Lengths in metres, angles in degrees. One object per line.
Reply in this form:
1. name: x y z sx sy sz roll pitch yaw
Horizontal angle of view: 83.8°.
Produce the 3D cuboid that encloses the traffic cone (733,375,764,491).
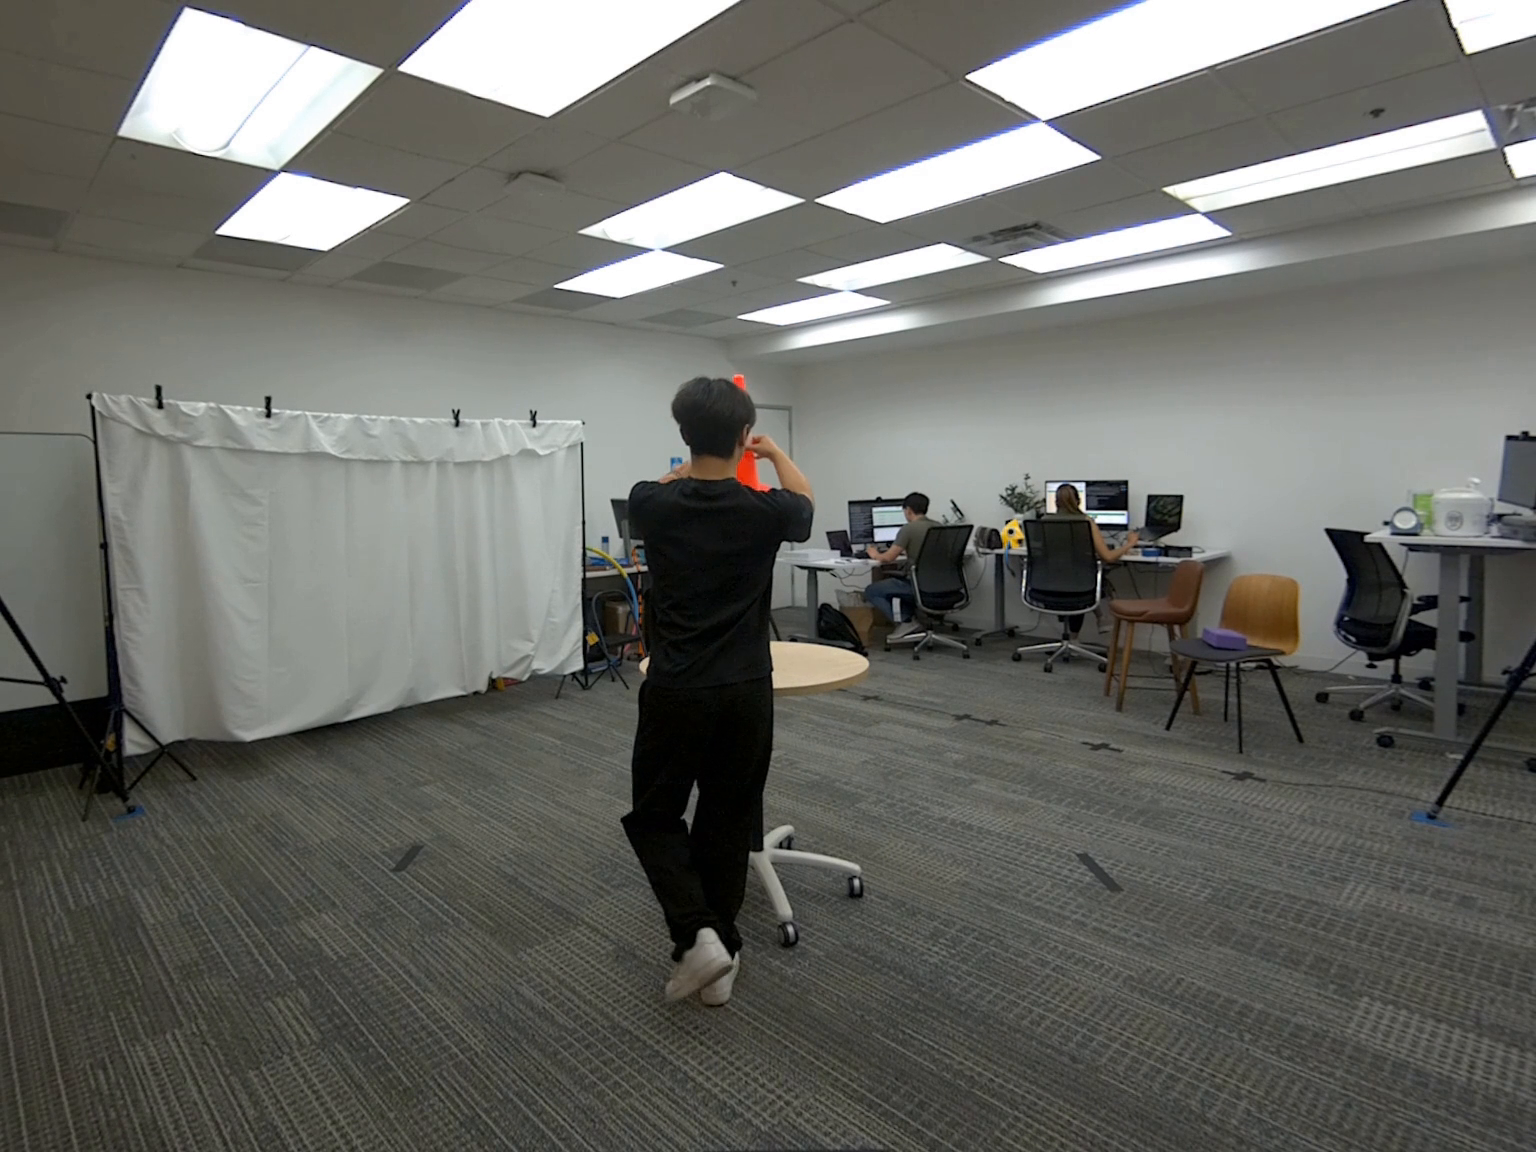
1. traffic cone: -0.092 -0.442 2.744 0.212 0.377 0.200 17 27 32
